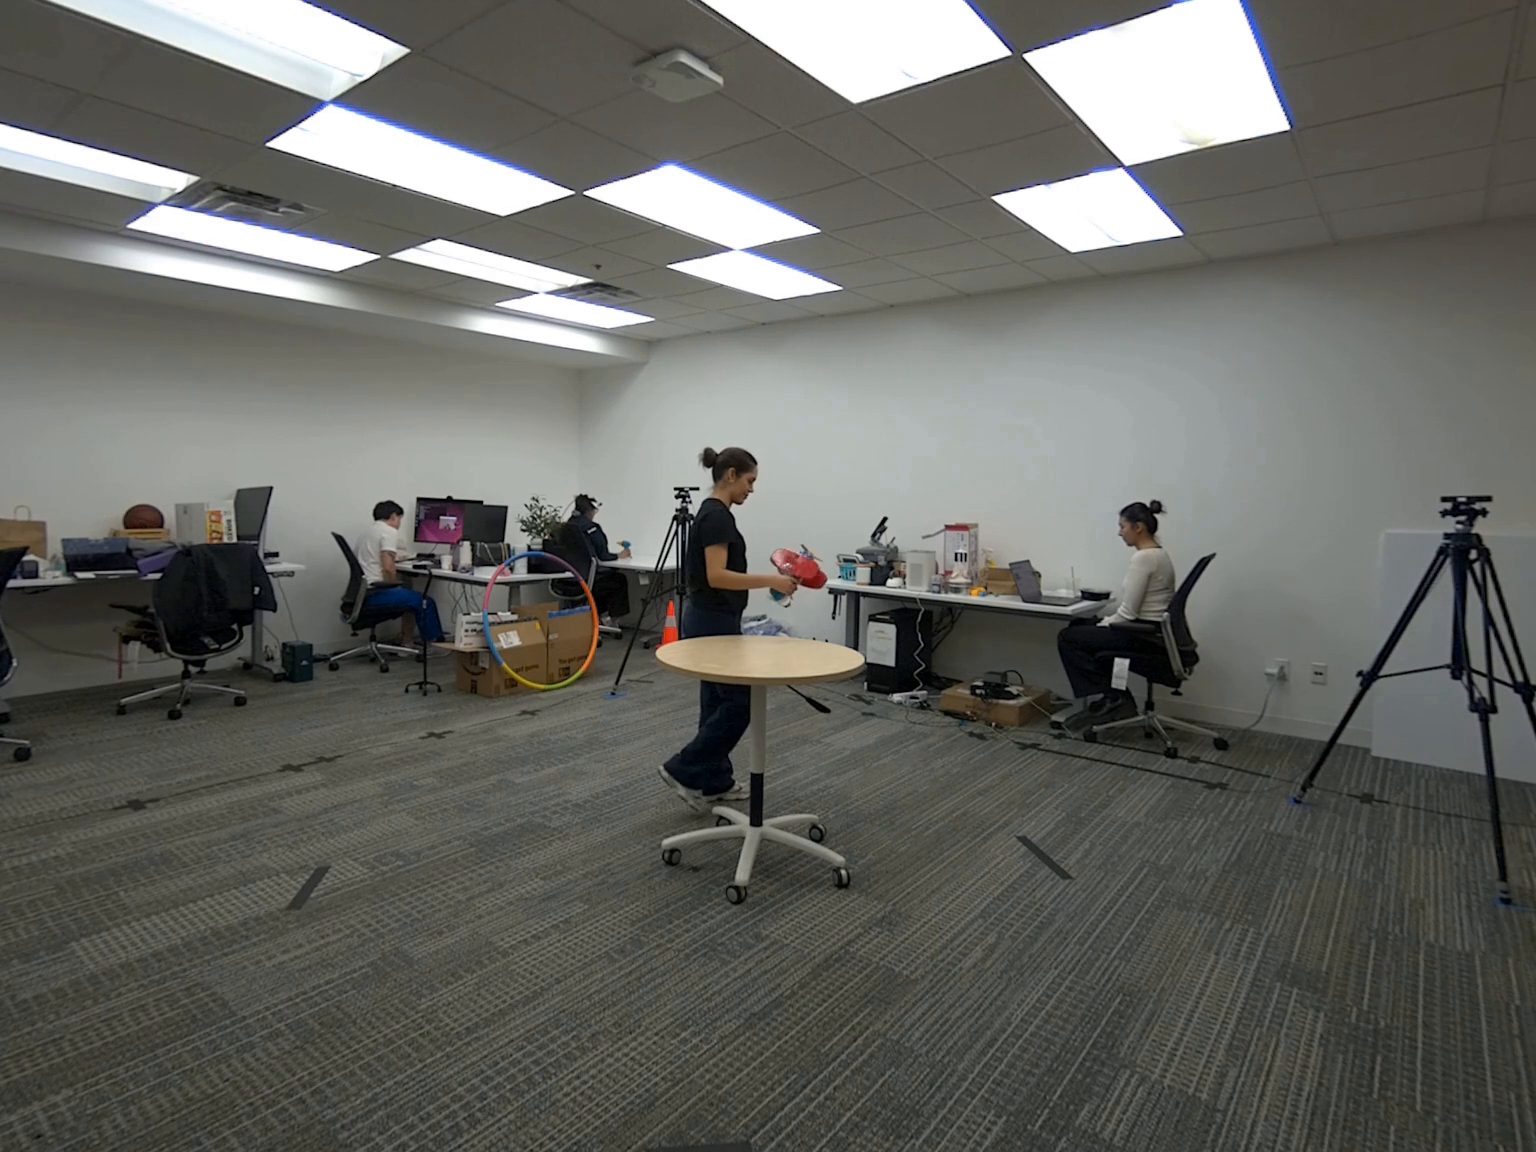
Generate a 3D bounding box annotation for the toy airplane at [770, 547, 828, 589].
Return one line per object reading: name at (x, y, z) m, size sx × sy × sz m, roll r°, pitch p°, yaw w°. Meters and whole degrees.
toy airplane at (0.141, 0.003, 3.535) m, size 0.257 × 0.151 × 0.263 m, roll -1°, pitch 43°, yaw 24°
